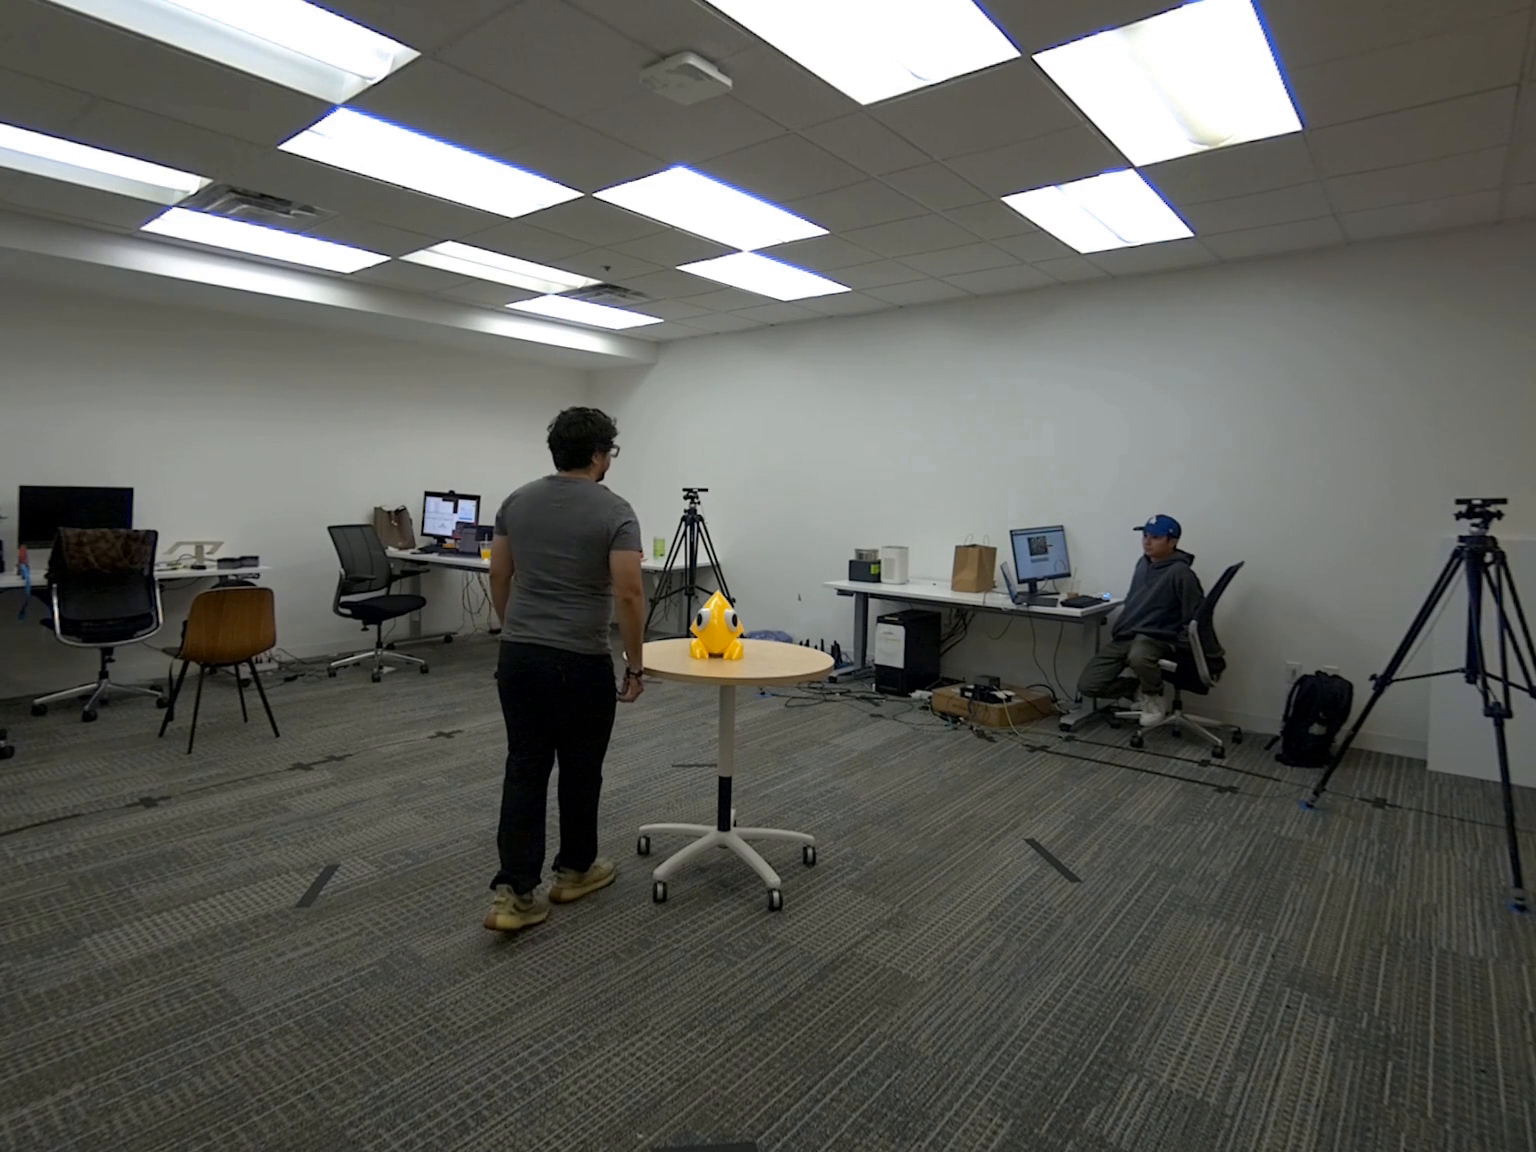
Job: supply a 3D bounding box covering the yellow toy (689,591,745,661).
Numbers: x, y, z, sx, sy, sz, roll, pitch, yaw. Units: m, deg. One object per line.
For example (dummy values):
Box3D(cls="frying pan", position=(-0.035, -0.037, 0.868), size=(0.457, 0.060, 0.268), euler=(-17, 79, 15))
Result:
Box3D(cls="yellow toy", position=(-0.194, 0.170, 3.101), size=(0.205, 0.230, 0.194), euler=(1, 4, -1))
